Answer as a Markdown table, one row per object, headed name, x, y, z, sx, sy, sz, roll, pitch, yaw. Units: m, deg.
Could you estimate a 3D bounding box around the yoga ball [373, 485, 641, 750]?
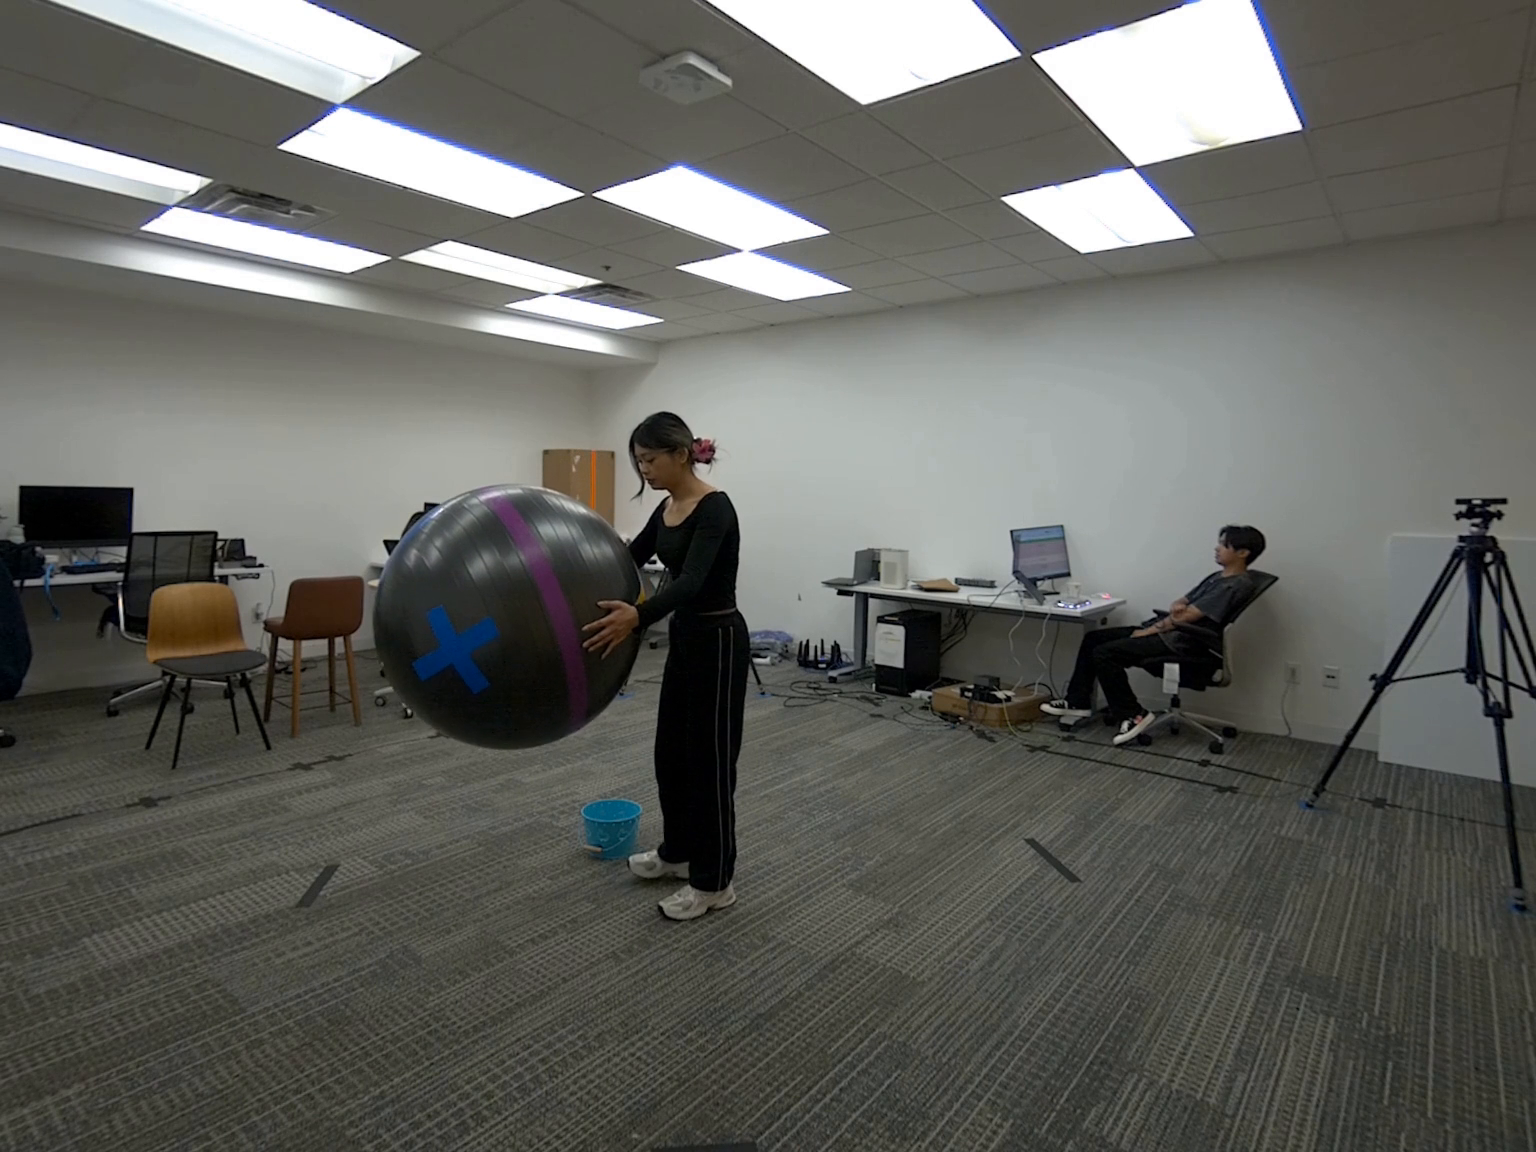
| name | x | y | z | sx | sy | sz | roll | pitch | yaw |
| --- | --- | --- | --- | --- | --- | --- | --- | --- | --- |
| yoga ball | -0.762 | 0.114 | 2.452 | 0.757 | 0.755 | 0.762 | 1 | 4 | -2 |
